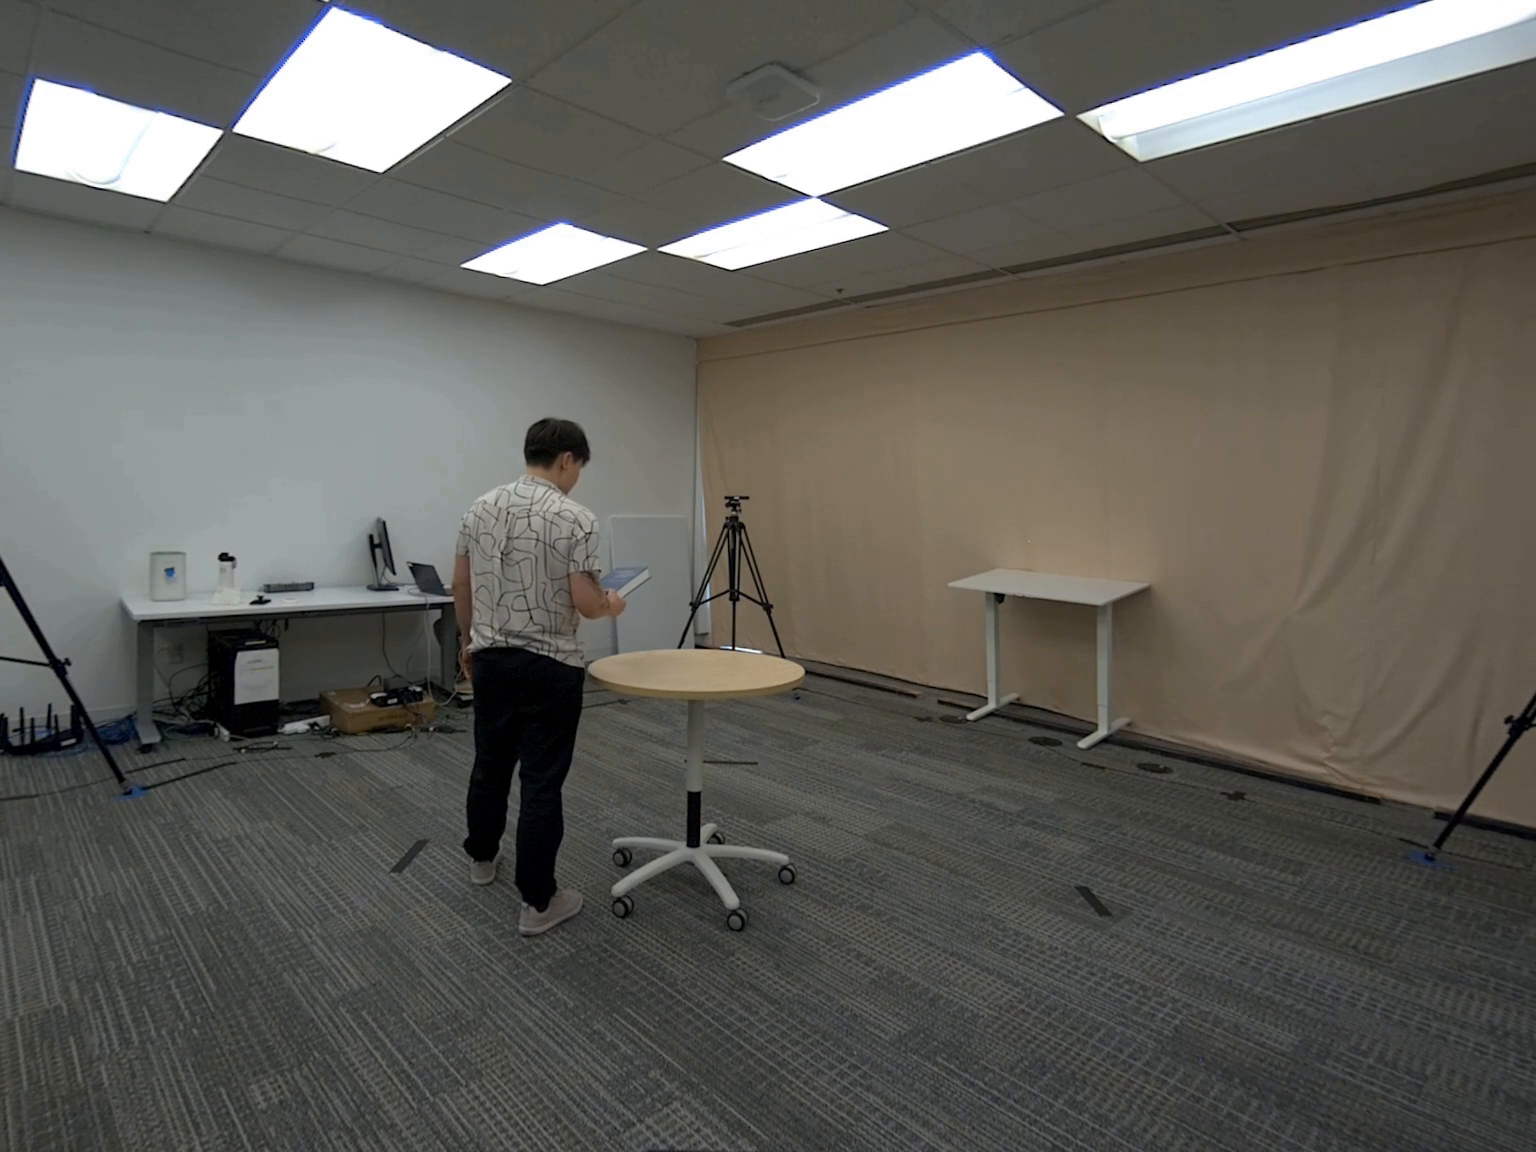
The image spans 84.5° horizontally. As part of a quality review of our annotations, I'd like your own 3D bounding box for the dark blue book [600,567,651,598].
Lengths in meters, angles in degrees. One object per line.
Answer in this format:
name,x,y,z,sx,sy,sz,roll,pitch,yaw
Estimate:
dark blue book,-0.571,0.039,3.090,0.167,0.044,0.244,-2,24,31
